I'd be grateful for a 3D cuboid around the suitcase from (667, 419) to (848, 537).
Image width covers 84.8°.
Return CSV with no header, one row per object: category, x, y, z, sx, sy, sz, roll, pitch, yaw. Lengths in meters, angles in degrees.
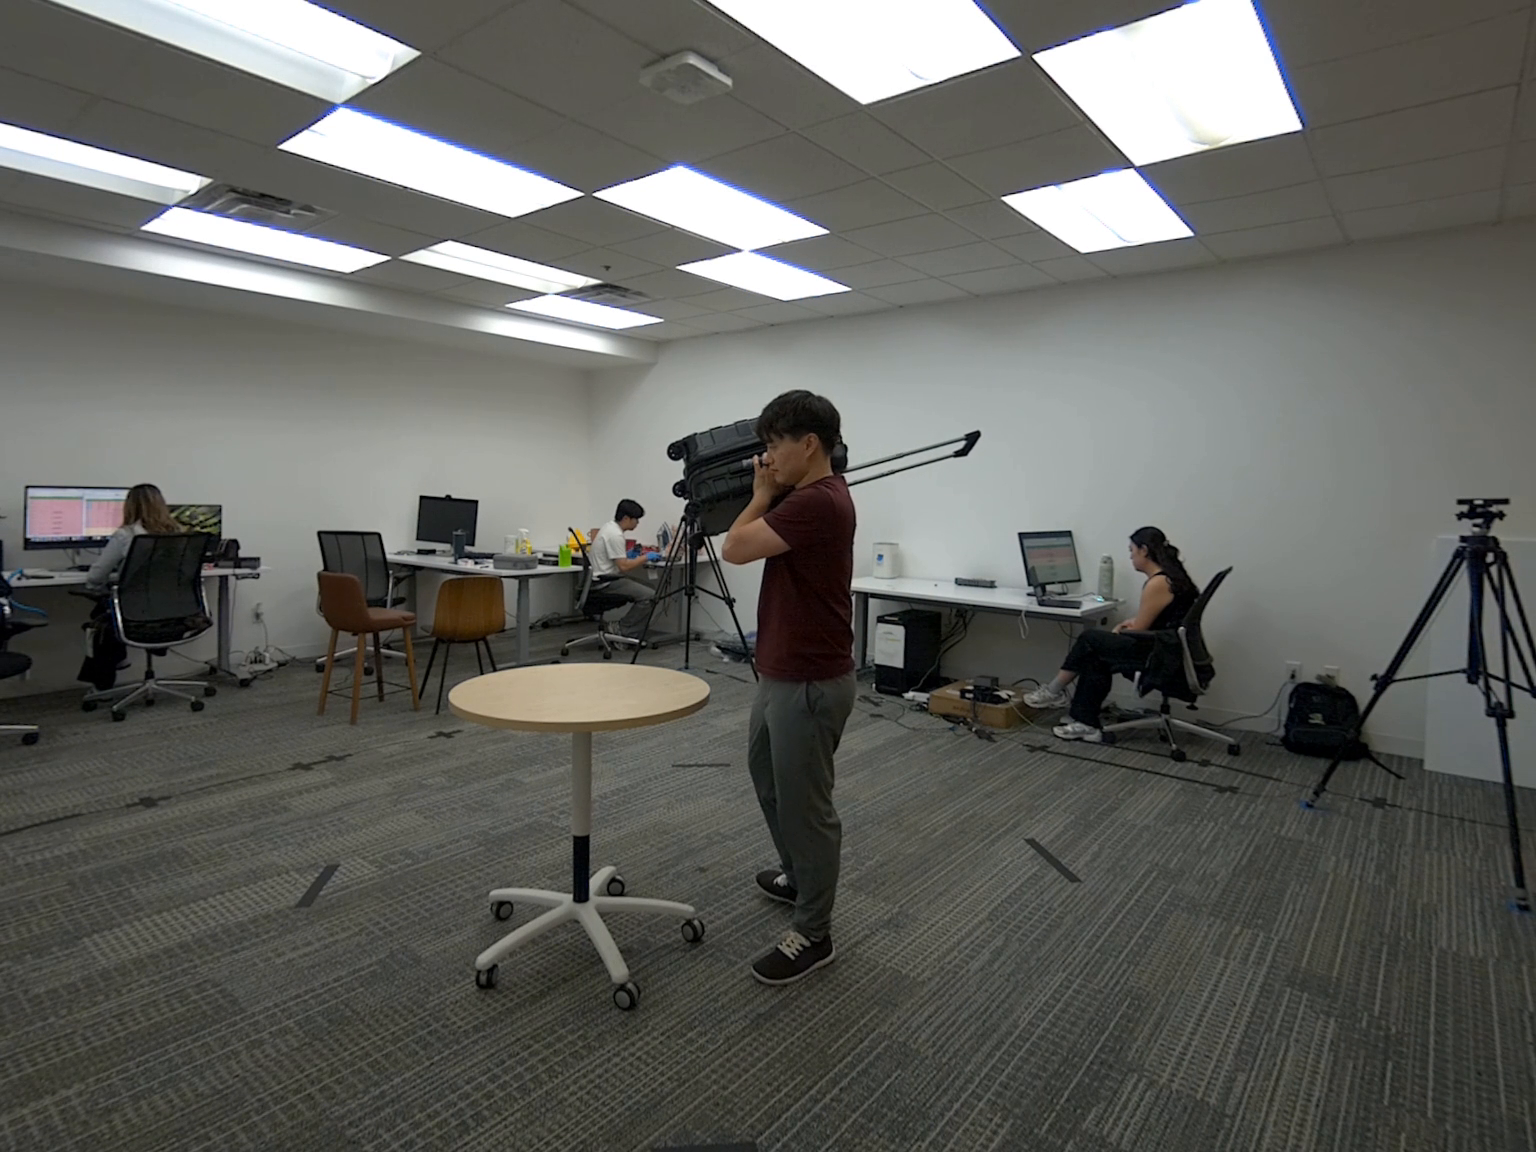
suitcase,0.155,-0.402,2.771,0.974,0.263,0.377,-17,-18,-6
